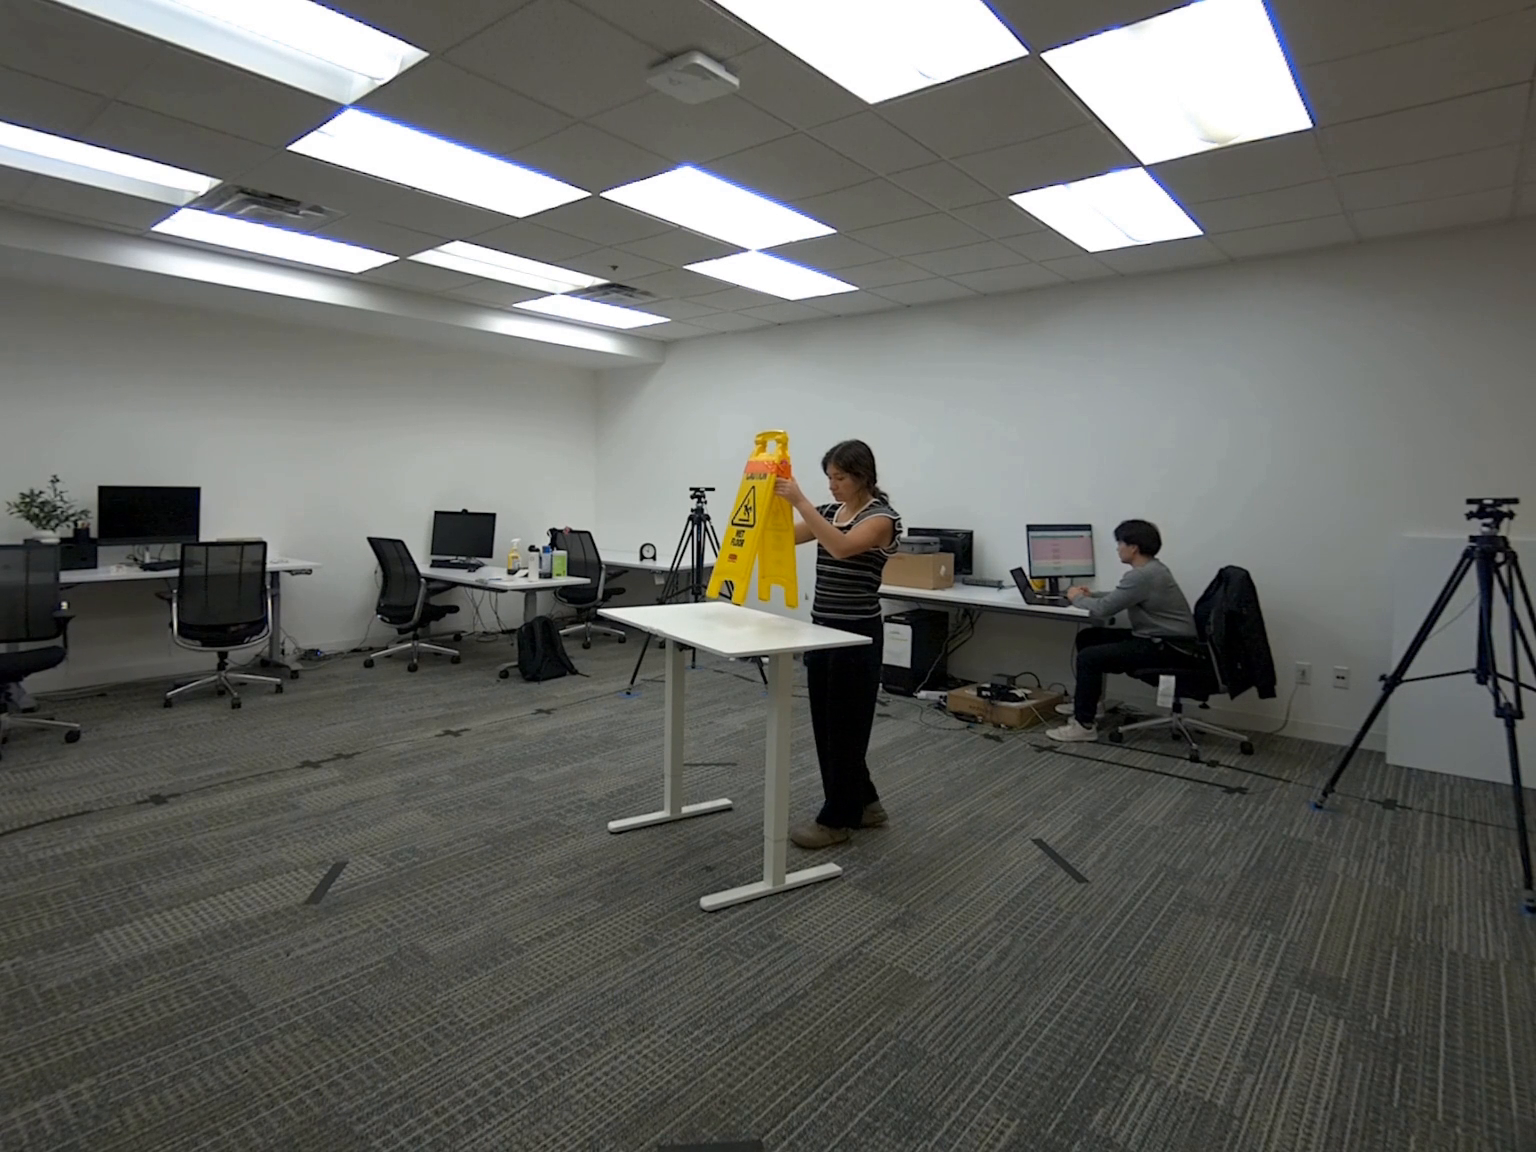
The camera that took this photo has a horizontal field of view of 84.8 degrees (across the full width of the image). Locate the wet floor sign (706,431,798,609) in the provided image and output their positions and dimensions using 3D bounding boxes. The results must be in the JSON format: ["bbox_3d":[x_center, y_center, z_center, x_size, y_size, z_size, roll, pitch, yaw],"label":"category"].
[{"bbox_3d":[-0.033,-0.224,3.215,0.281,0.646,0.290,6,0,-29],"label":"wet floor sign"}]
